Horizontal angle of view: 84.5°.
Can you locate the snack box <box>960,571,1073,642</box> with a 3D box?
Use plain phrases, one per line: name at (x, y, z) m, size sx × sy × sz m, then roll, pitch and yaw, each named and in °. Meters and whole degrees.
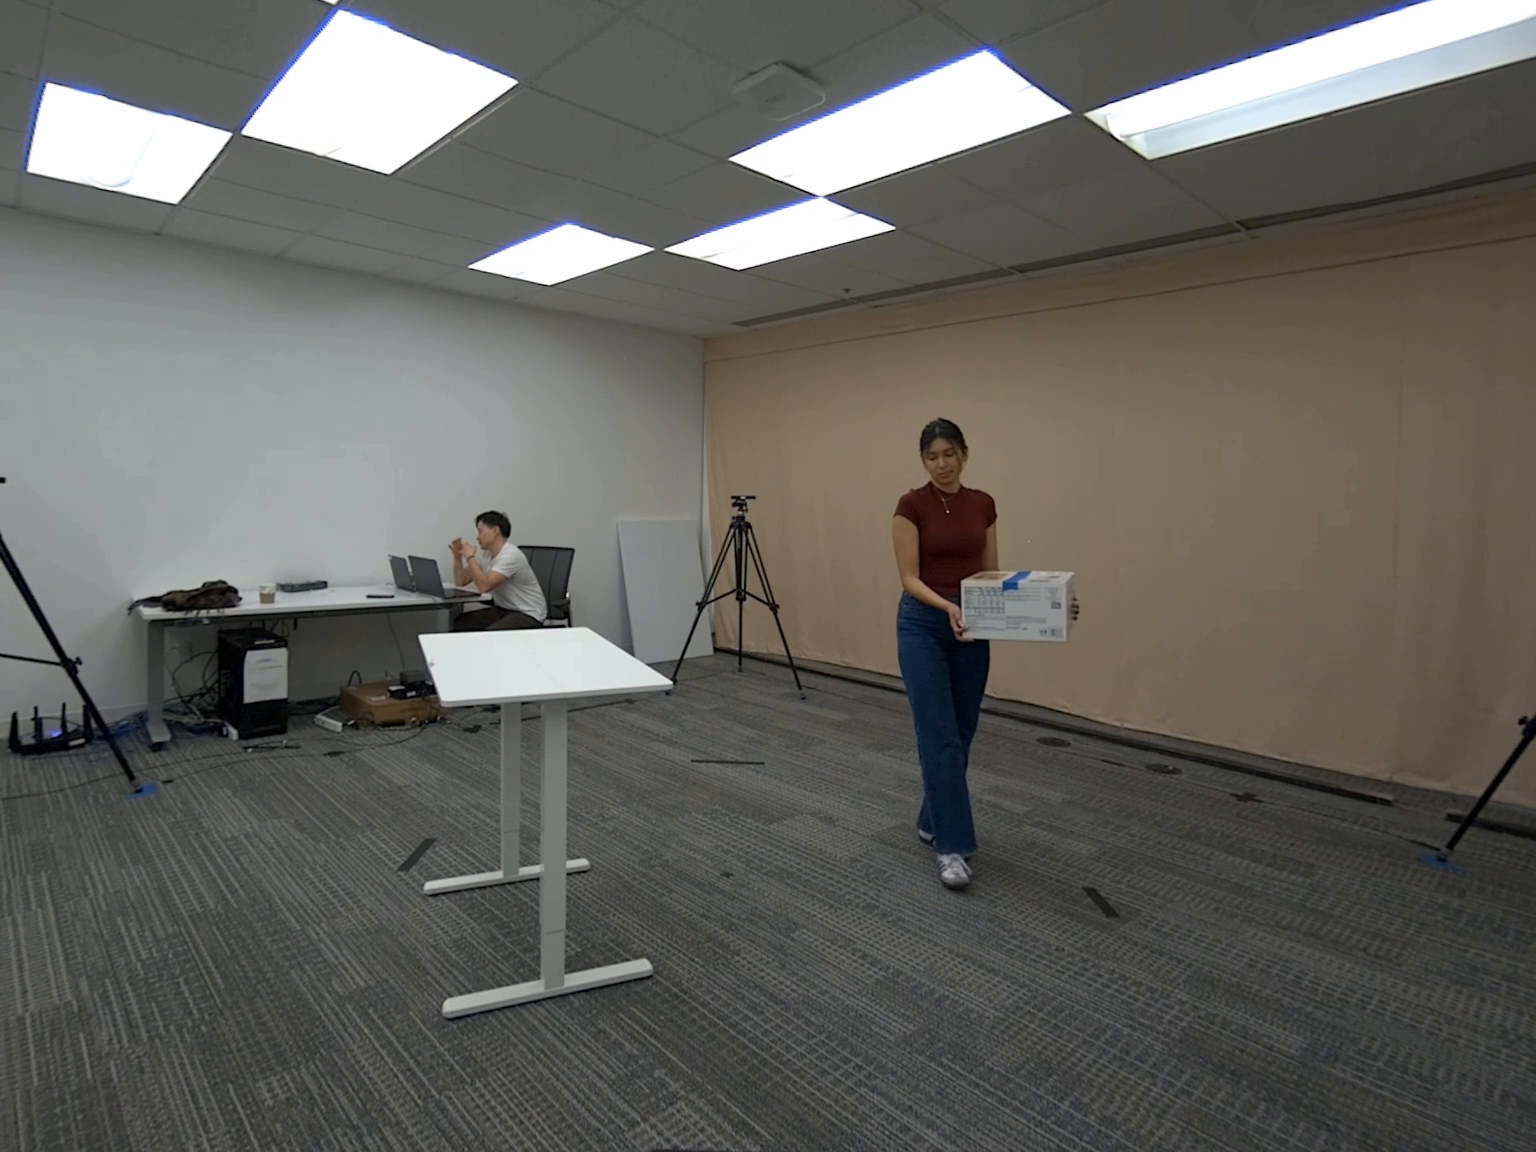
snack box at (0.891, 0.099, 3.013) m, size 0.346 × 0.205 × 0.399 m, roll -1°, pitch 5°, yaw 25°
